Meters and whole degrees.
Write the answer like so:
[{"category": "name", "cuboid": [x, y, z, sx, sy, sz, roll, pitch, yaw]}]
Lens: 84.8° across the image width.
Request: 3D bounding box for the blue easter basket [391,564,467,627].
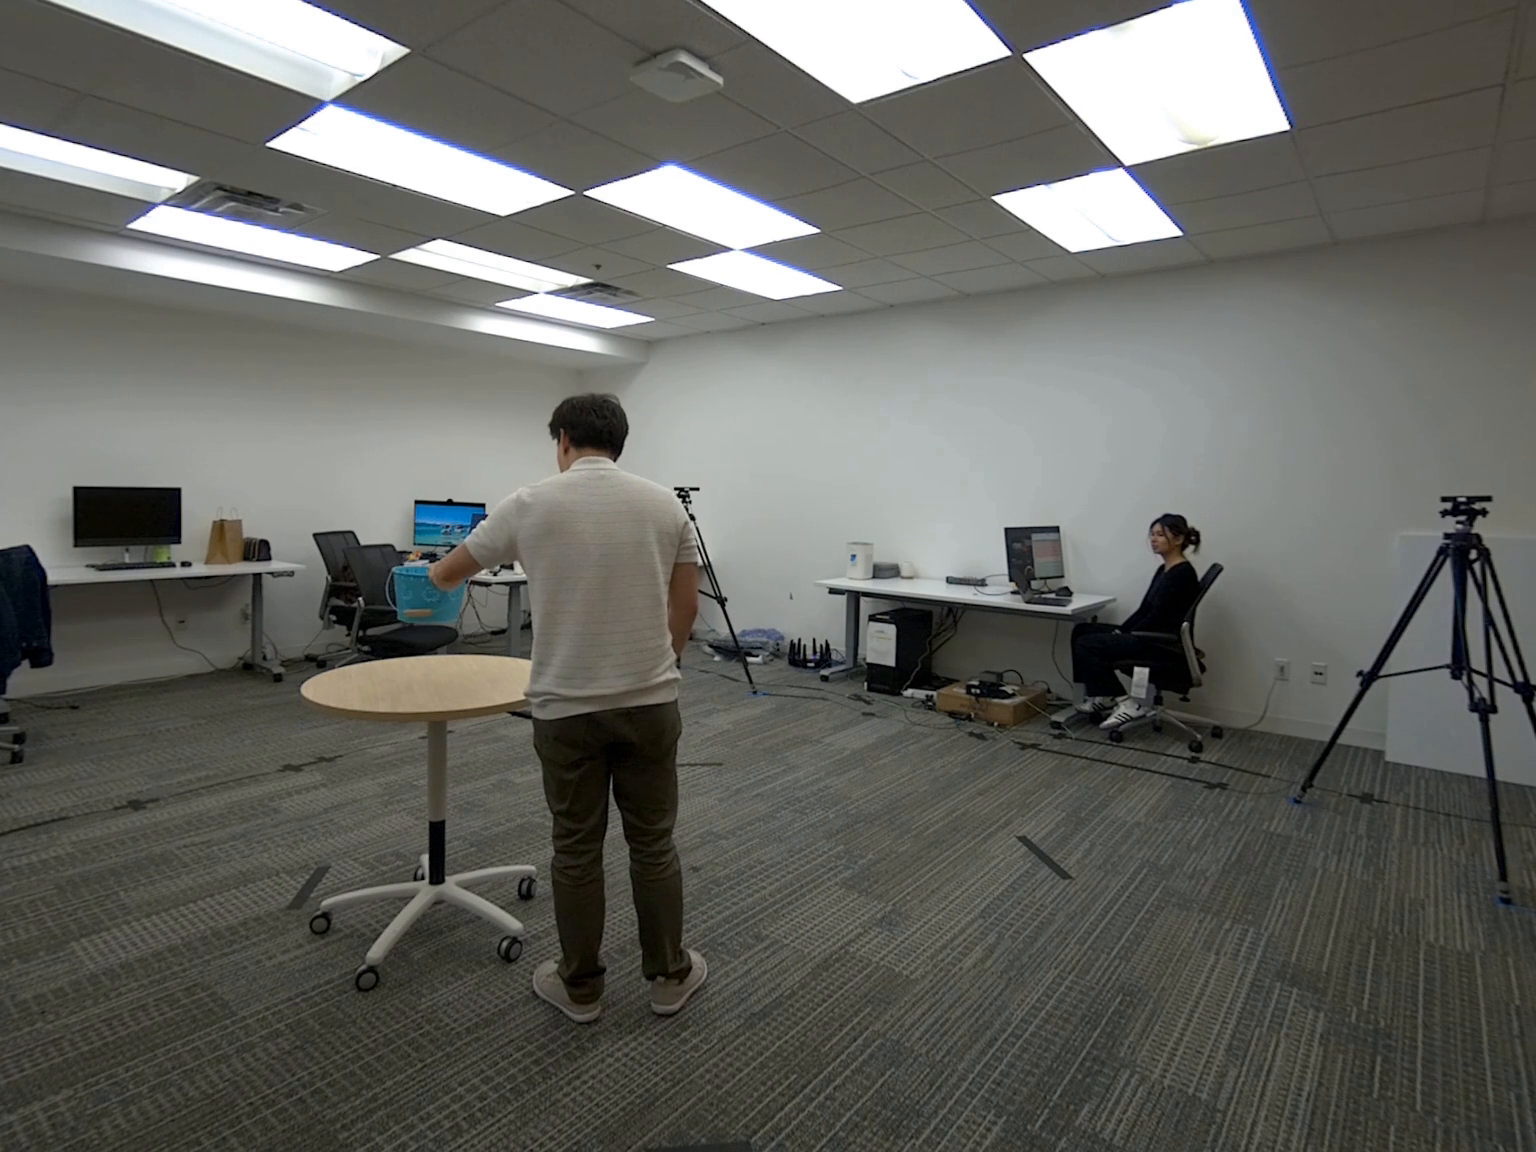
[{"category": "blue easter basket", "cuboid": [-1.078, 0.055, 2.642, 0.243, 0.155, 0.245, 3, 4, -2]}]
